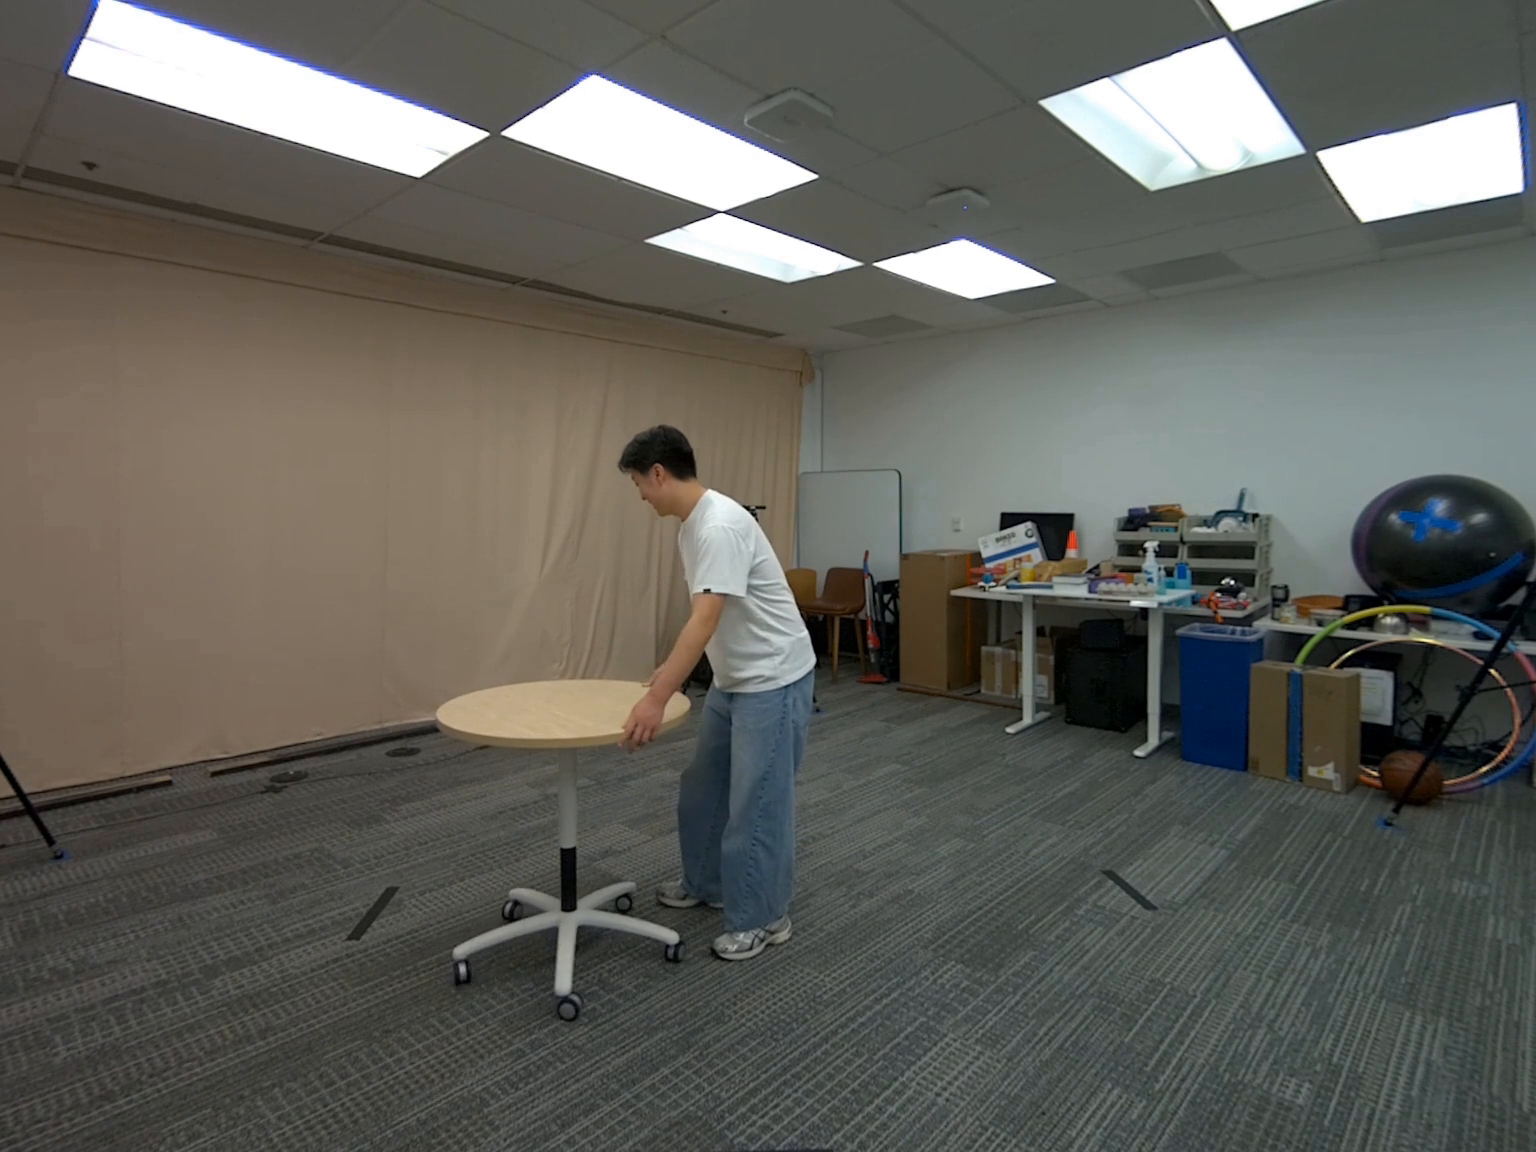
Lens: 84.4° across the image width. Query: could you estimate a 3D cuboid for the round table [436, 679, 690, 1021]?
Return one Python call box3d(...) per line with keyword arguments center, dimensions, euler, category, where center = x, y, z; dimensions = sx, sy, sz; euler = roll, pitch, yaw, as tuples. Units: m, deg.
box3d(center=(-0.608, 0.791, 2.603), dimensions=(0.784, 0.785, 0.787), euler=(-1, 3, -2), category="round table")
